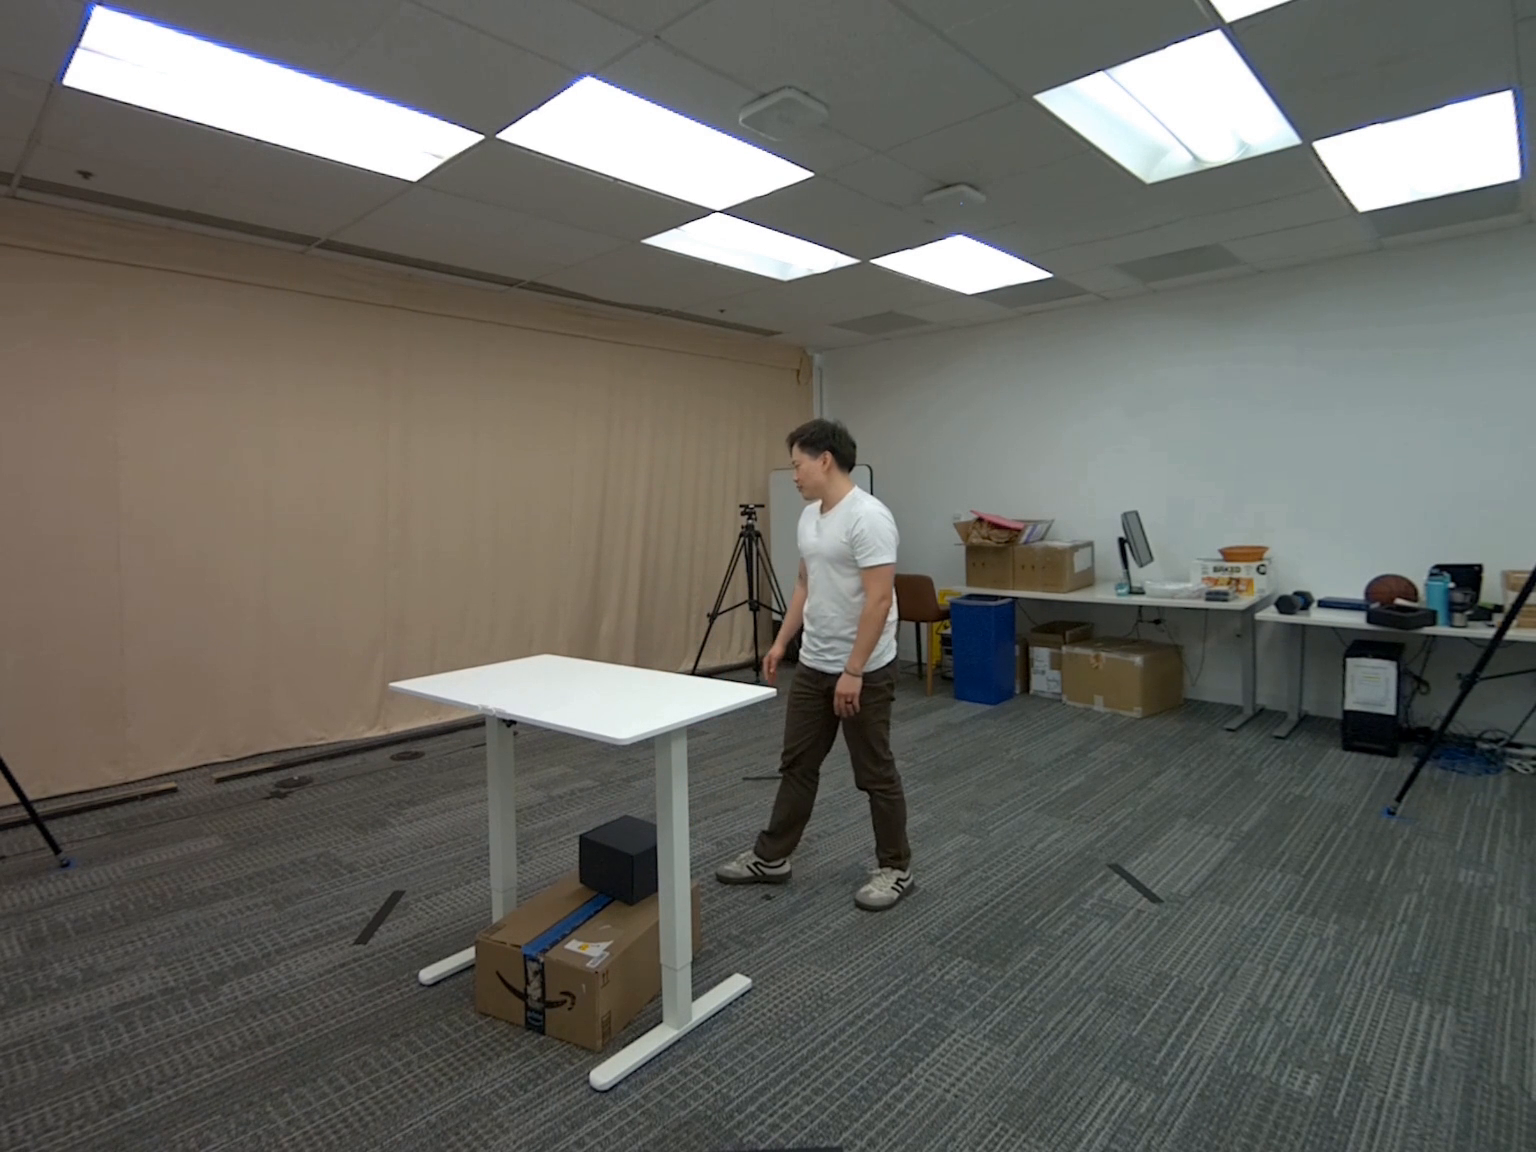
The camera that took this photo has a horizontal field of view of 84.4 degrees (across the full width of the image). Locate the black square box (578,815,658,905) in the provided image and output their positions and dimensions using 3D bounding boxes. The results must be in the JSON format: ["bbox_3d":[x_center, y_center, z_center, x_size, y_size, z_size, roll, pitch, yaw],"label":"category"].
[{"bbox_3d":[-0.430,0.877,2.617,0.235,0.155,0.211,4,6,35],"label":"black square box"}]
